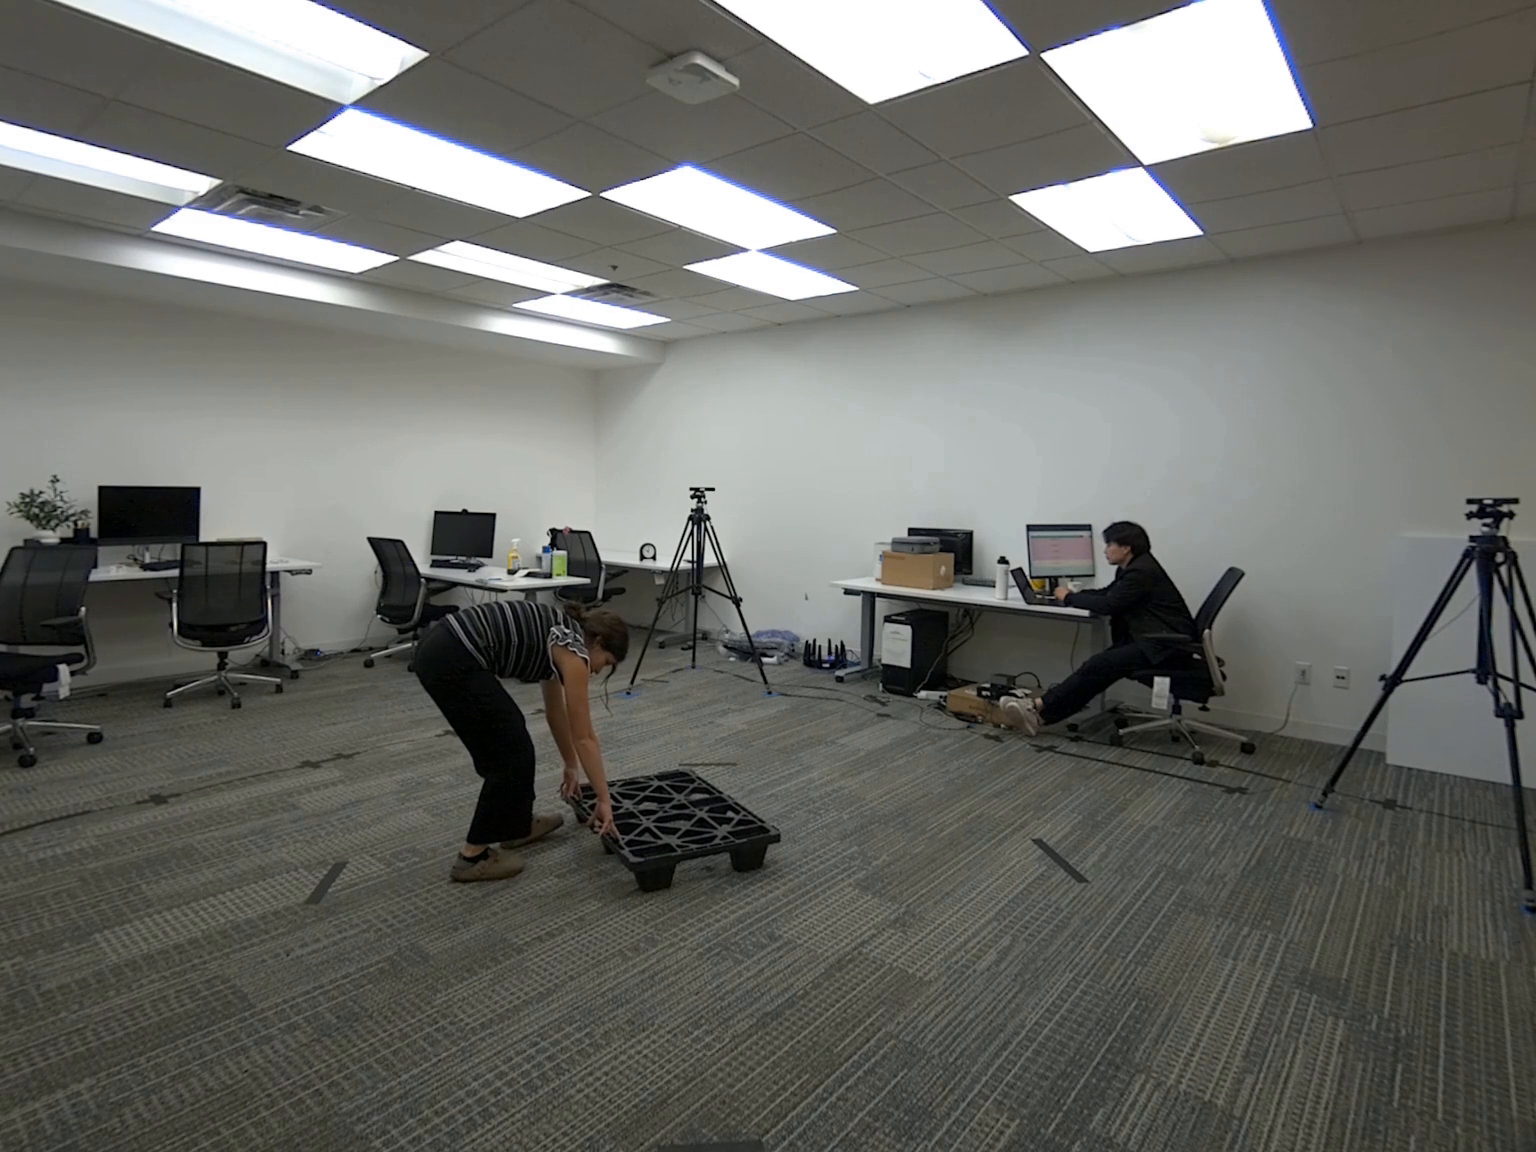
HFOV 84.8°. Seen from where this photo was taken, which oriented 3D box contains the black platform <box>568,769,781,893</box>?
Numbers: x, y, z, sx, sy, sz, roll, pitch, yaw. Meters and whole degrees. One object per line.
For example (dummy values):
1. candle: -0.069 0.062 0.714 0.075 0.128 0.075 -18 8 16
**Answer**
1. black platform: -0.414 0.974 3.341 0.589 0.143 0.830 -2 6 -29
